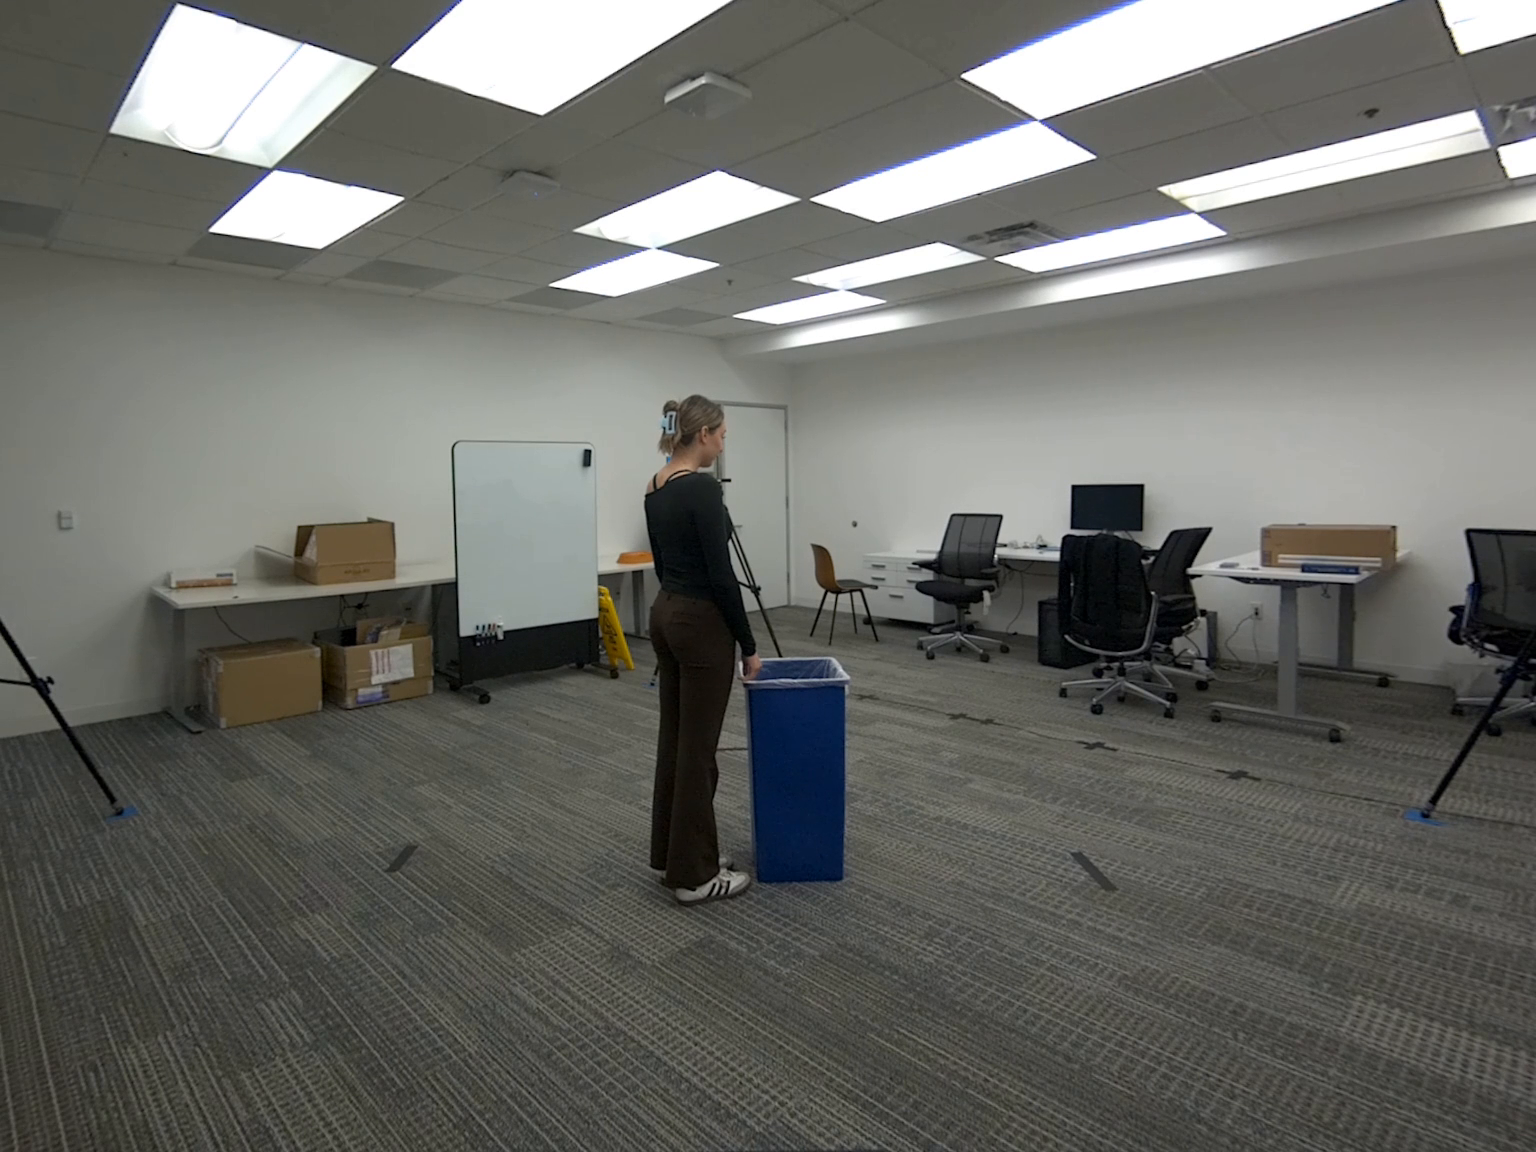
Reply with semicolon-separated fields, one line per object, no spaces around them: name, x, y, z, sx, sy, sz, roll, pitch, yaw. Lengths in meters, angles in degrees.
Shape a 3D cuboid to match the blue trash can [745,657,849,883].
blue trash can;0.090;0.686;3.082;0.373;0.711;0.380;-1;4;-2
